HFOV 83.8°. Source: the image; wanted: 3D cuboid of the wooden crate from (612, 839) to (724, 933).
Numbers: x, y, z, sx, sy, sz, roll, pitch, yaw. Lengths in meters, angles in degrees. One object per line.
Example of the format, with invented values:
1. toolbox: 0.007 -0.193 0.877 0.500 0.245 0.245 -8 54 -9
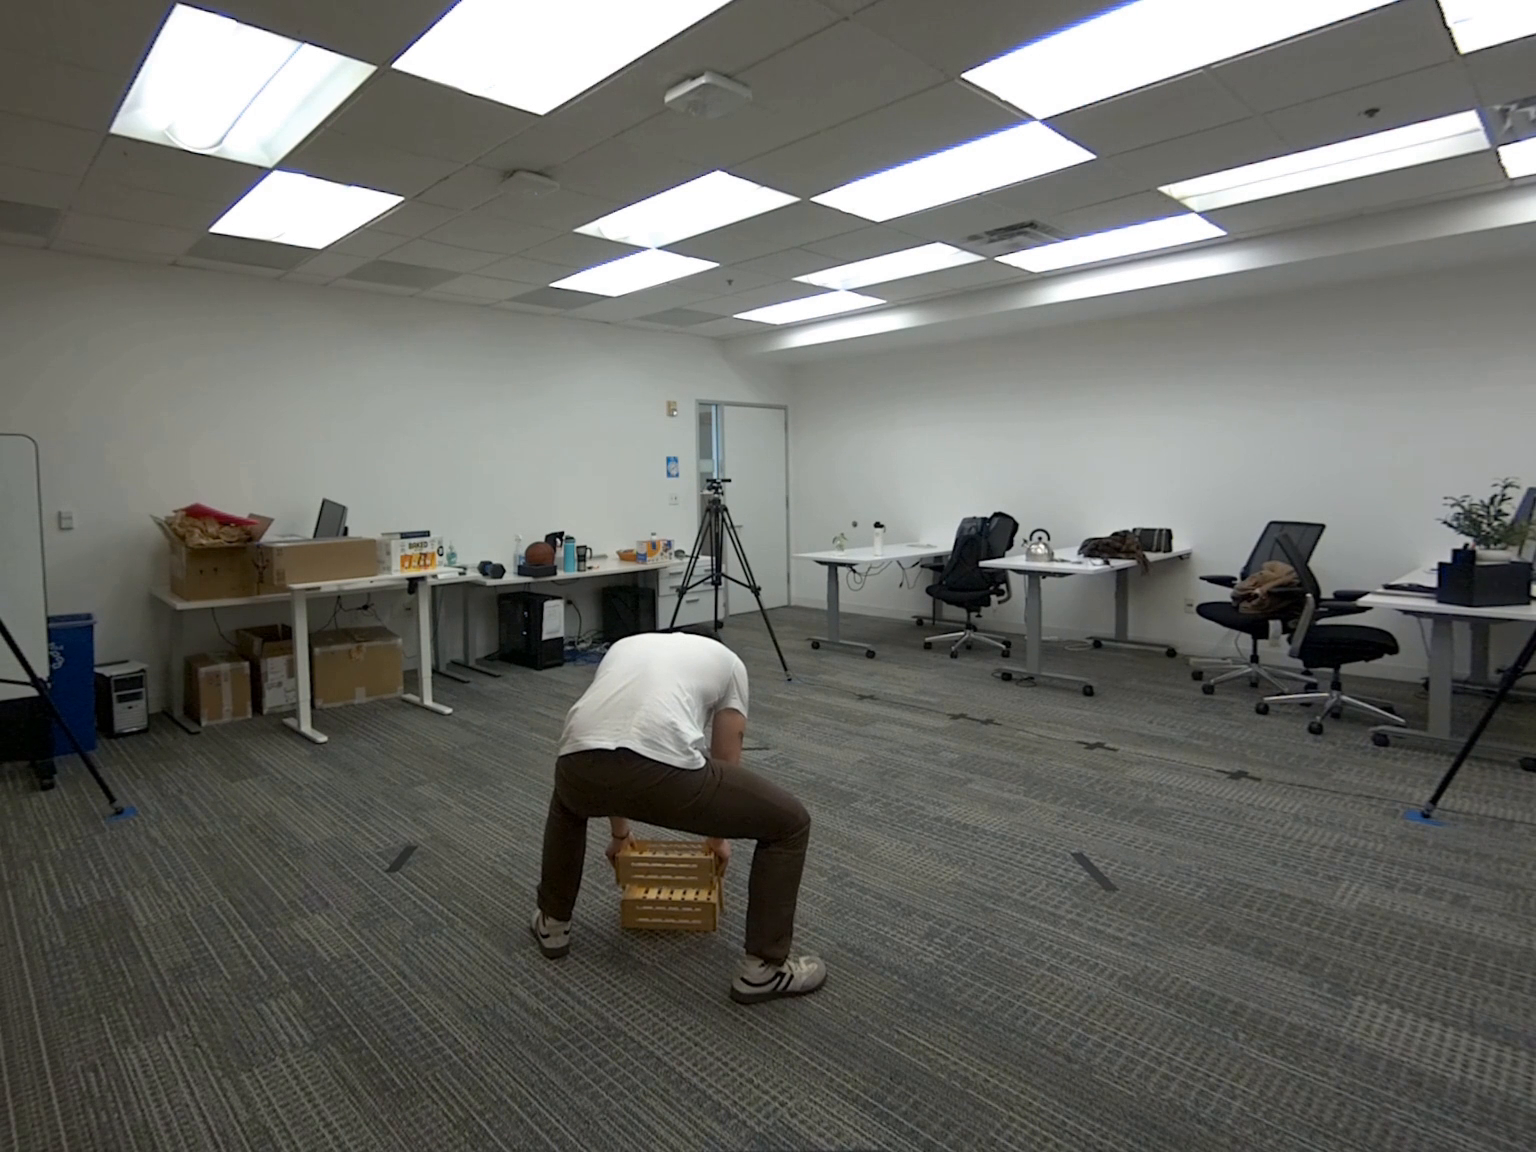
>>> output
1. wooden crate: -0.301 0.958 2.754 0.326 0.272 0.302 0 5 5
